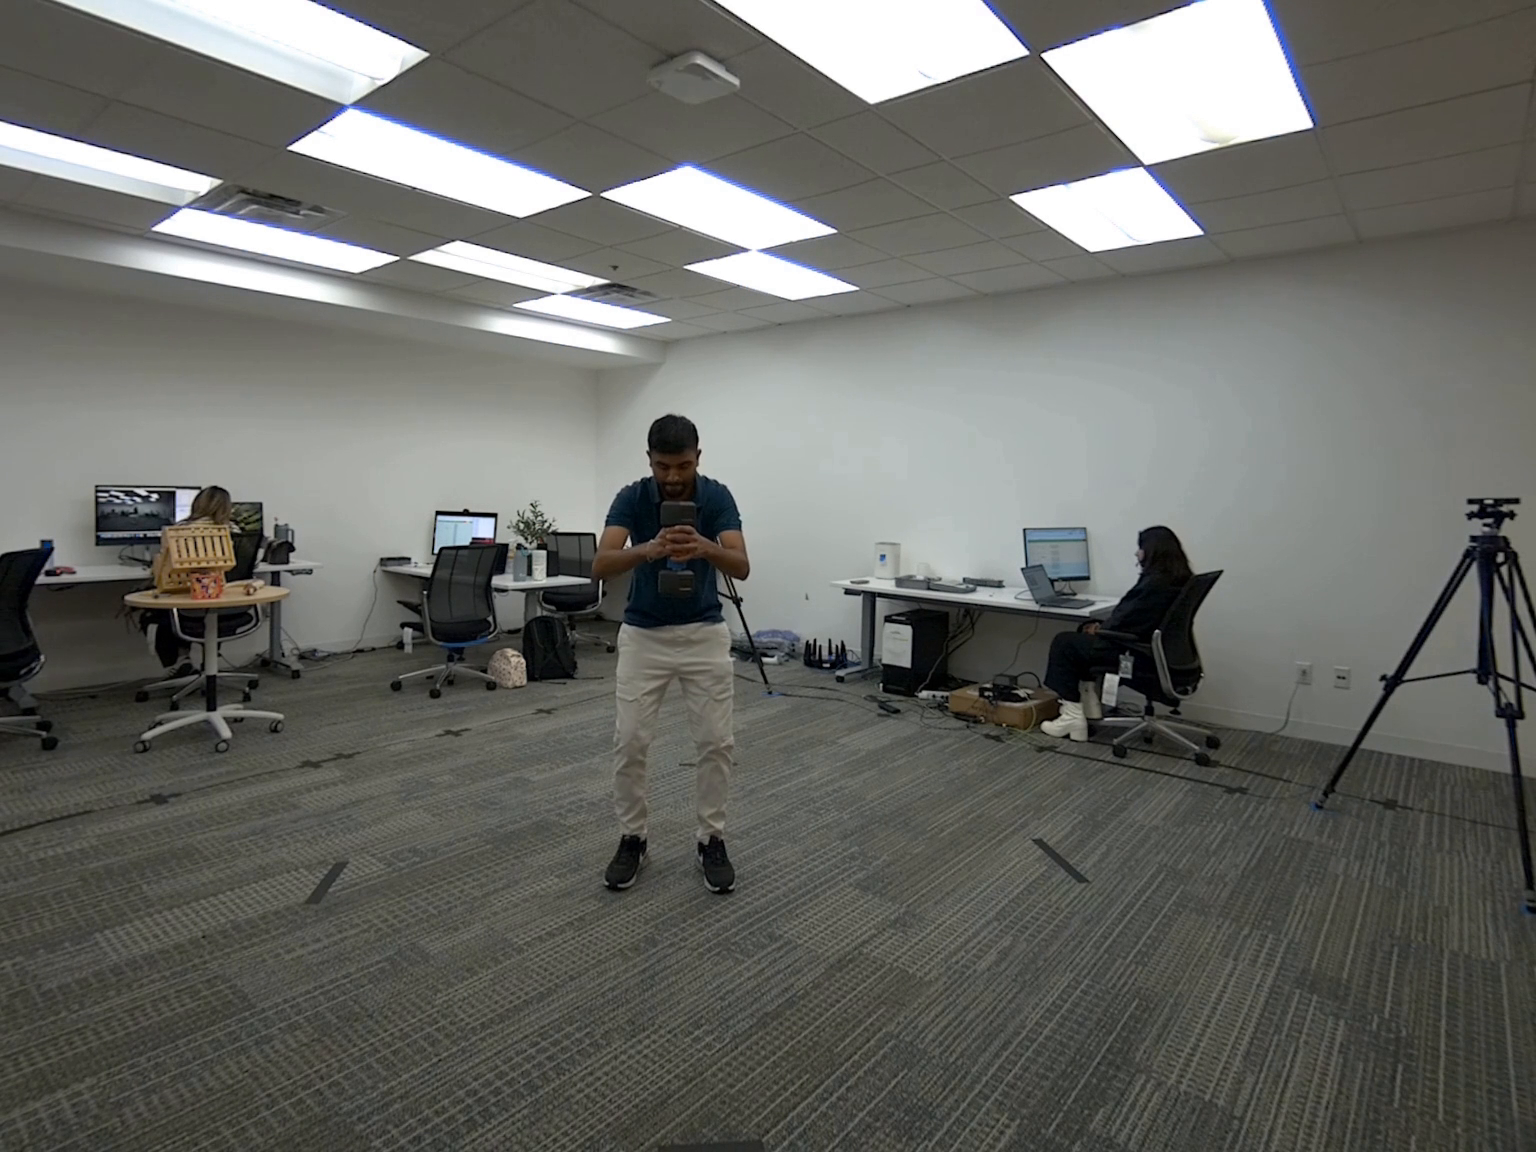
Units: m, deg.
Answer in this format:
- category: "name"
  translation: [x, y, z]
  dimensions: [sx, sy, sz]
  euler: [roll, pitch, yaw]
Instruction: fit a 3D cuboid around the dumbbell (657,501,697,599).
- category: "dumbbell"
  translation: [-0.291, -0.084, 2.644]
  dimensions: [0.126, 0.293, 0.106]
  euler: [2, 2, 22]
